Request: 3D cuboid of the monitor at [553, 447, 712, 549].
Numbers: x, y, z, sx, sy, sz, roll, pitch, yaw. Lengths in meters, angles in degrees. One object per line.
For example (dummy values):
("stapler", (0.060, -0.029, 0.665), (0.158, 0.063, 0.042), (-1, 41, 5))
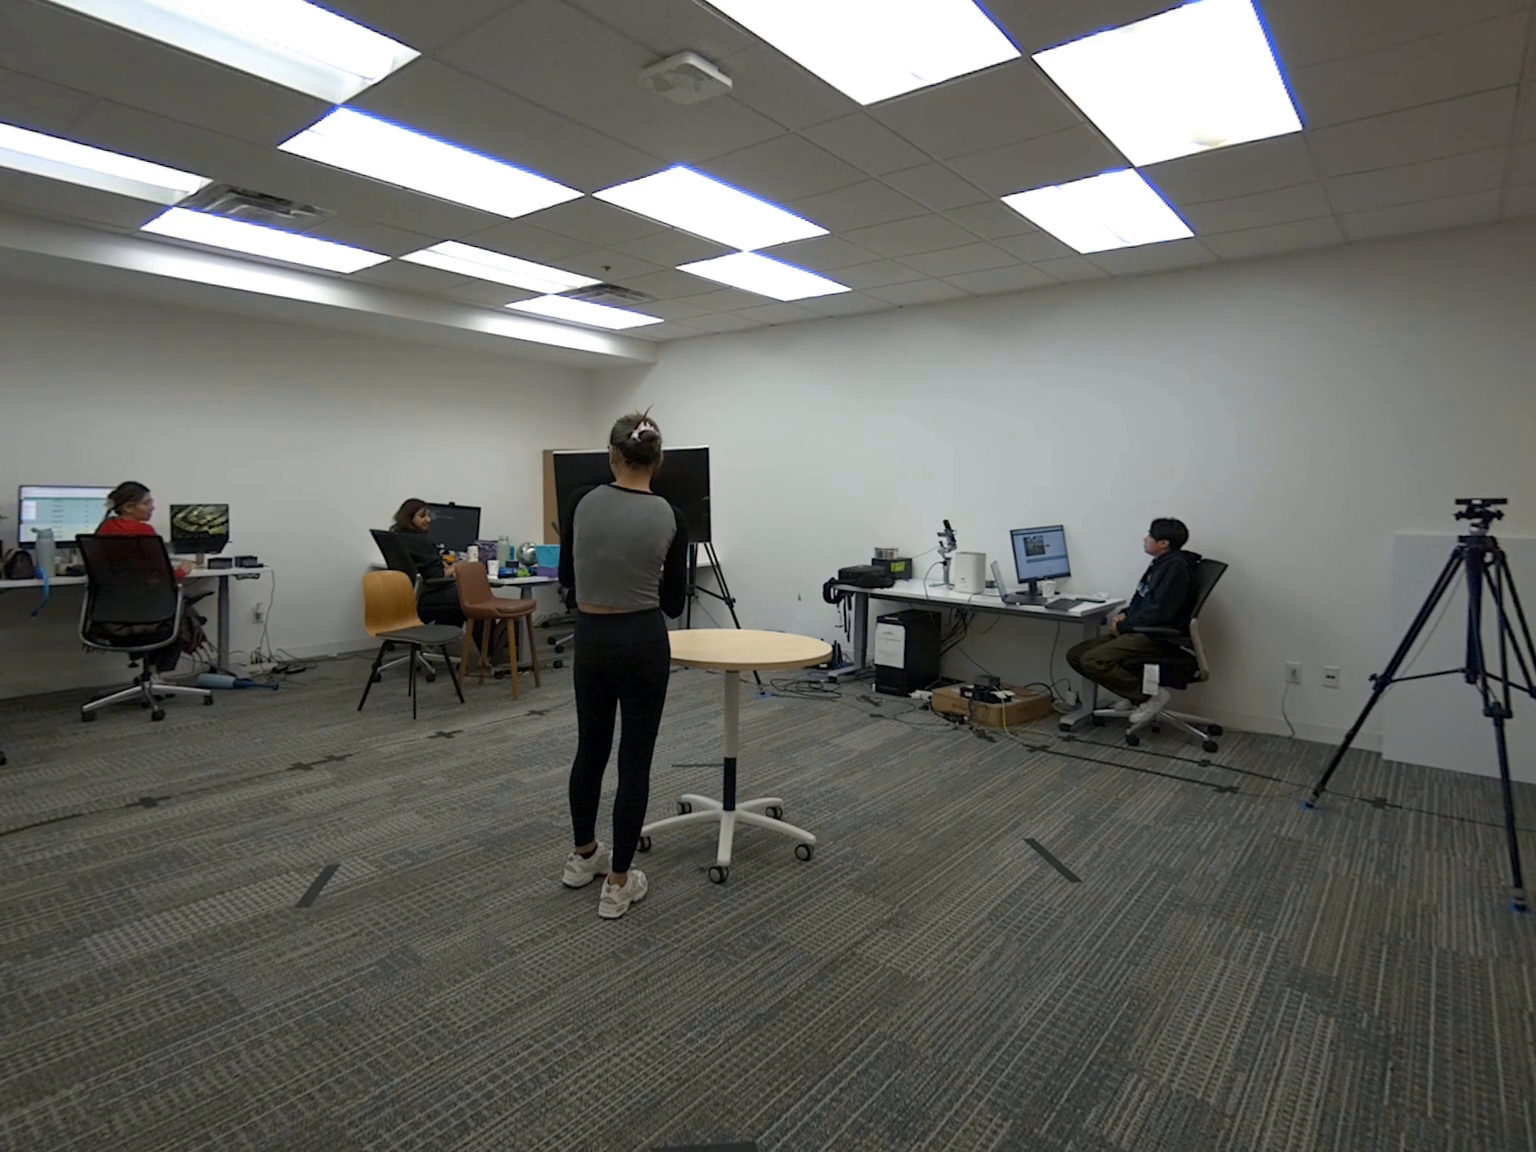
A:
("monitor", (-0.486, -0.181, 3.046), (0.536, 0.519, 0.189), (-4, 6, -6))
